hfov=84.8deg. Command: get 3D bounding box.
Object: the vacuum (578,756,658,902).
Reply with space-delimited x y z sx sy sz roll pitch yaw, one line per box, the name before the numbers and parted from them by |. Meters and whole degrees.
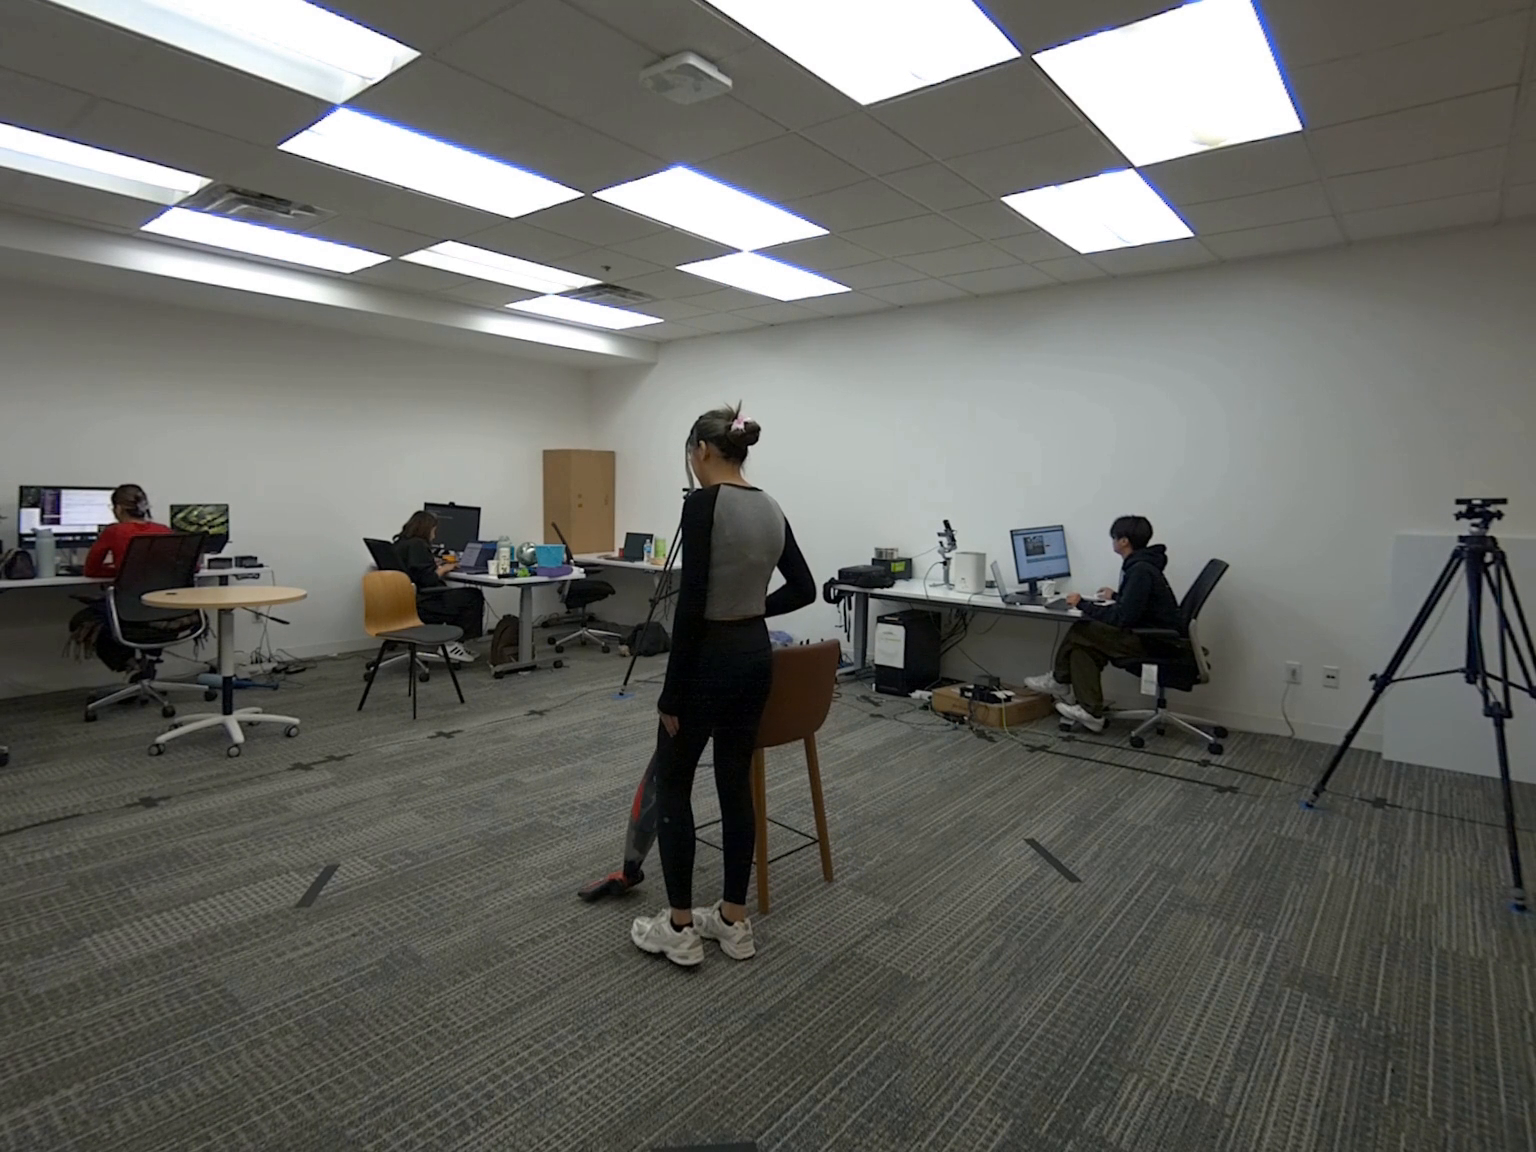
vacuum | -0.350 0.589 2.823 0.149 1.044 0.245 27 11 26
